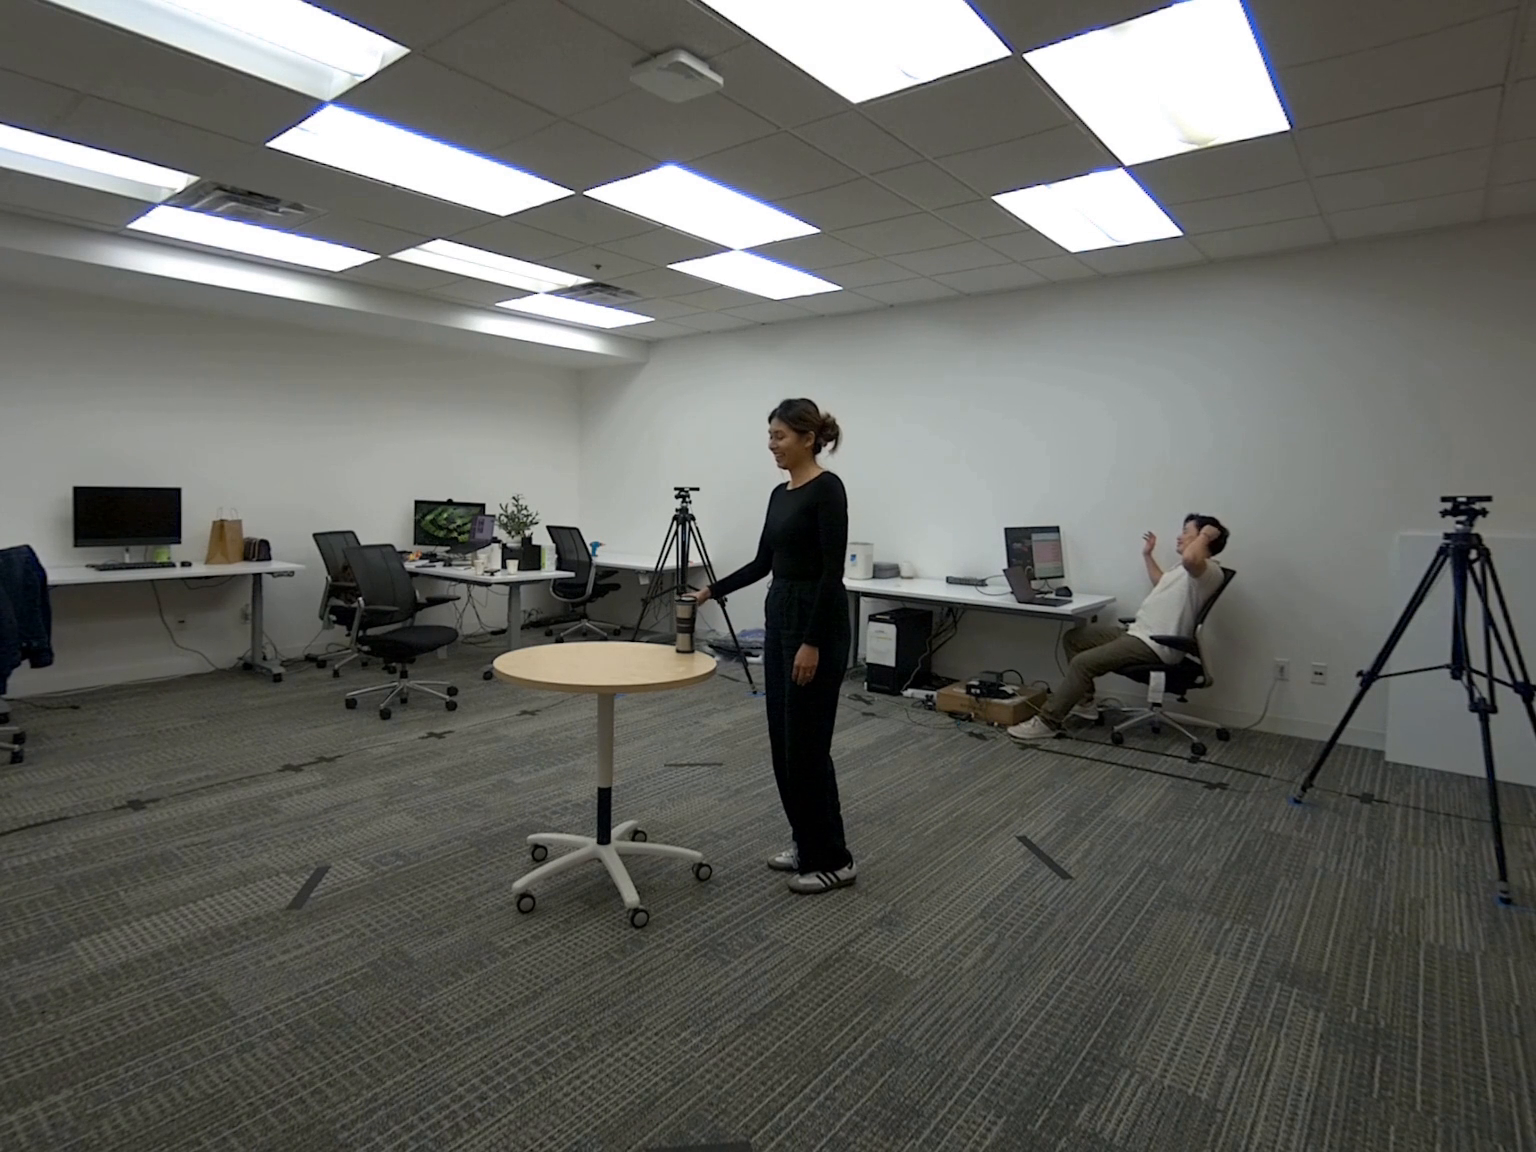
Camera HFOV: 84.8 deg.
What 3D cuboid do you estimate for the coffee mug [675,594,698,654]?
[{"bbox_3d":[-0.303,0.178,3.176,0.090,0.202,0.120,1,5,20],"label":"coffee mug"}]
